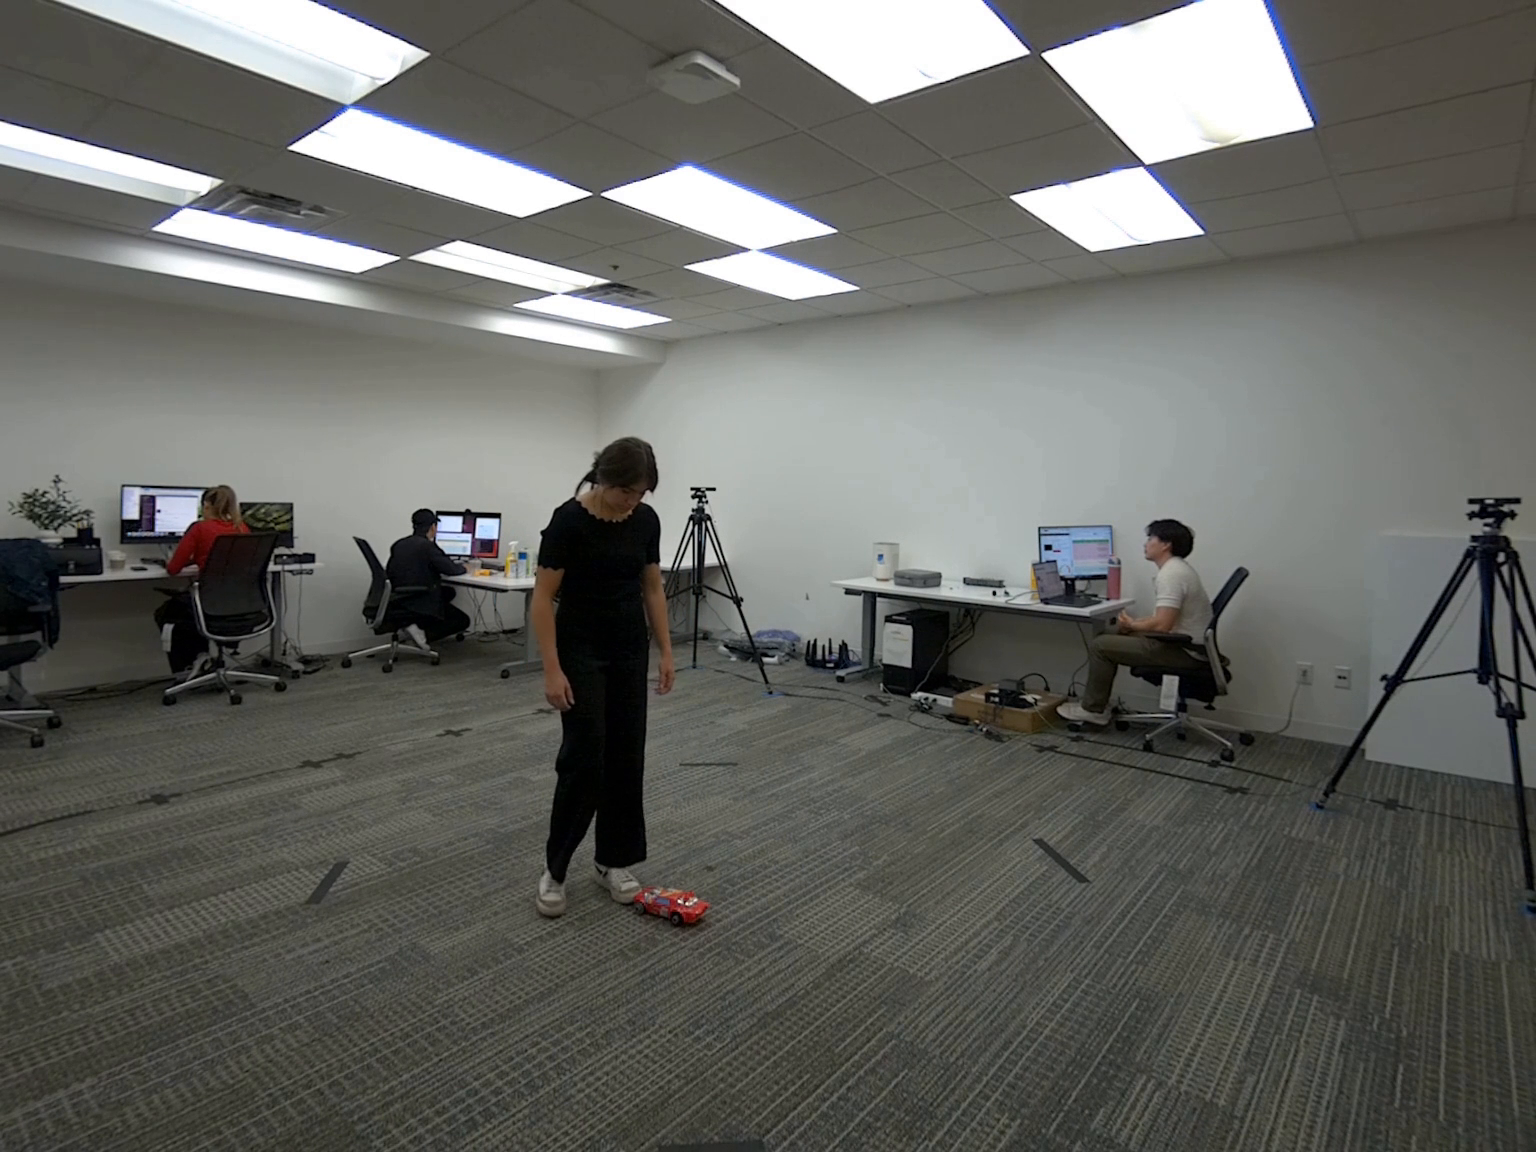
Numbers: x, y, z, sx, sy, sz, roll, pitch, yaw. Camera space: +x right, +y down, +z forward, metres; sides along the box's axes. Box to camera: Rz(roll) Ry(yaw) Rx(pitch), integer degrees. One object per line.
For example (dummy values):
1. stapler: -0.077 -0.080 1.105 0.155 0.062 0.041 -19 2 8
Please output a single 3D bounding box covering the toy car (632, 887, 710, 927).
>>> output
1. toy car: -0.321 1.073 2.750 0.260 0.083 0.127 -8 0 30
